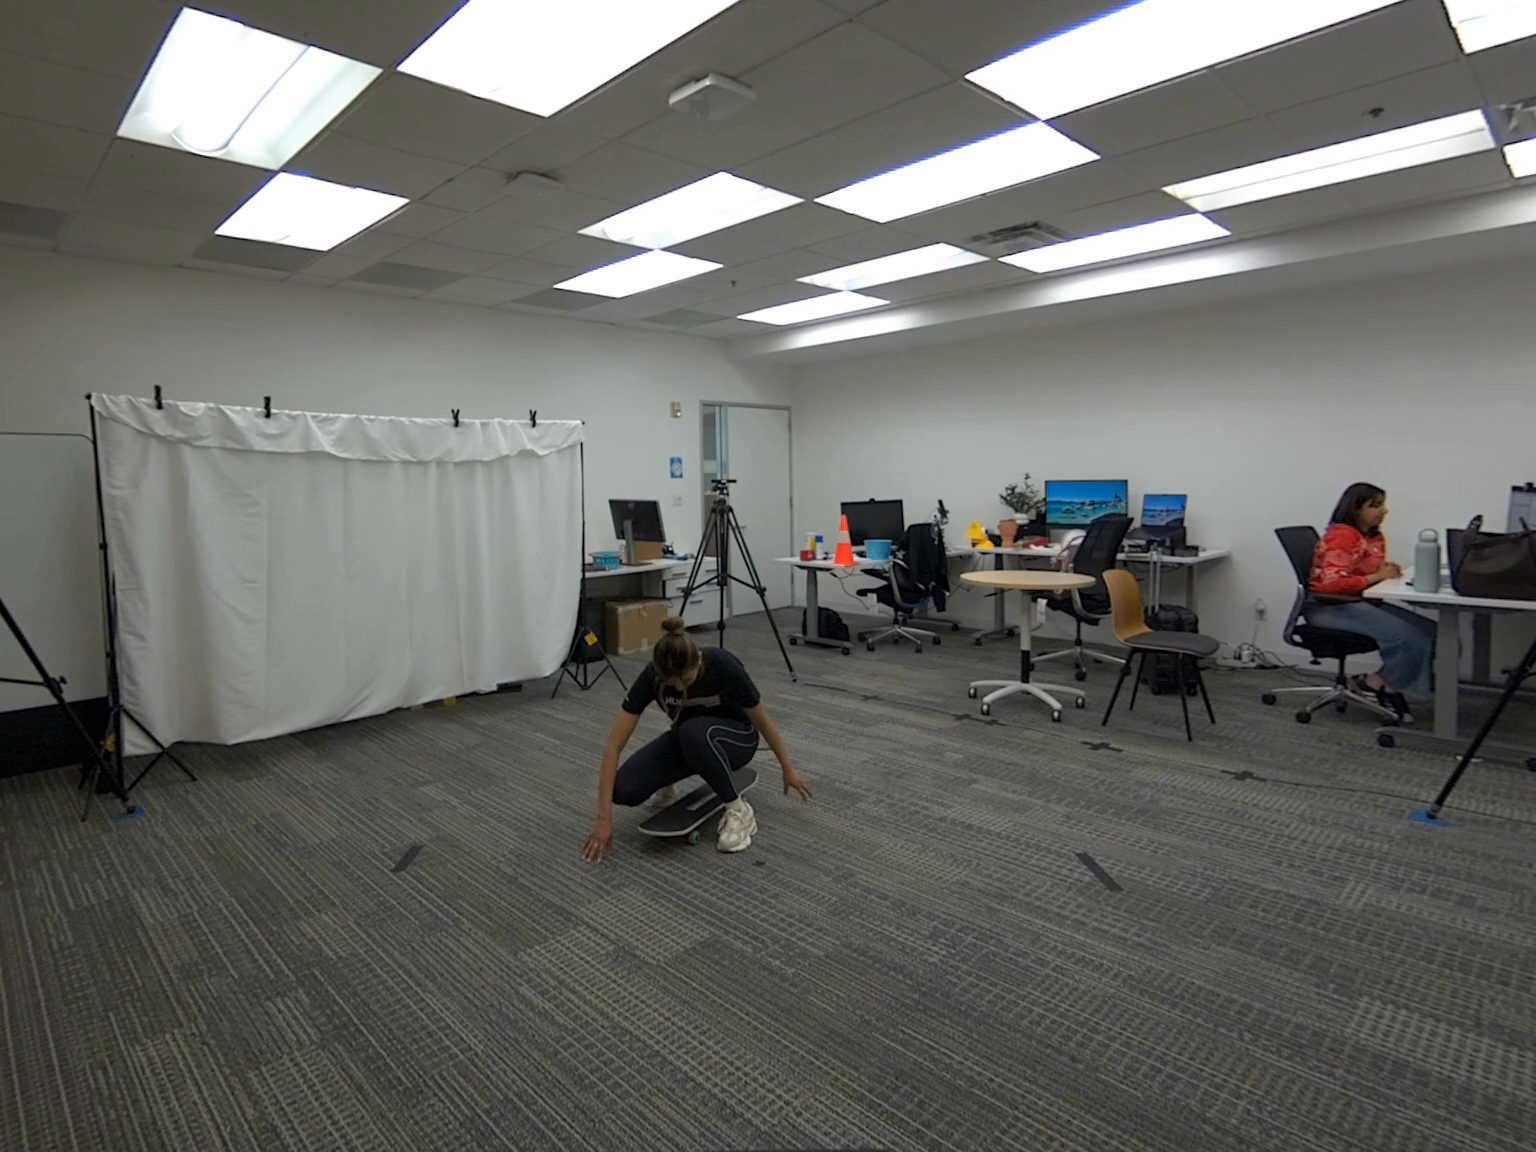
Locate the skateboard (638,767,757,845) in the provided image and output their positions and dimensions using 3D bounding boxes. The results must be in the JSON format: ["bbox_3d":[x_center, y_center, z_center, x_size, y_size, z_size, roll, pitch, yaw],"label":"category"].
[{"bbox_3d":[-0.269,0.944,3.490,0.198,0.110,0.770,1,7,27],"label":"skateboard"}]
